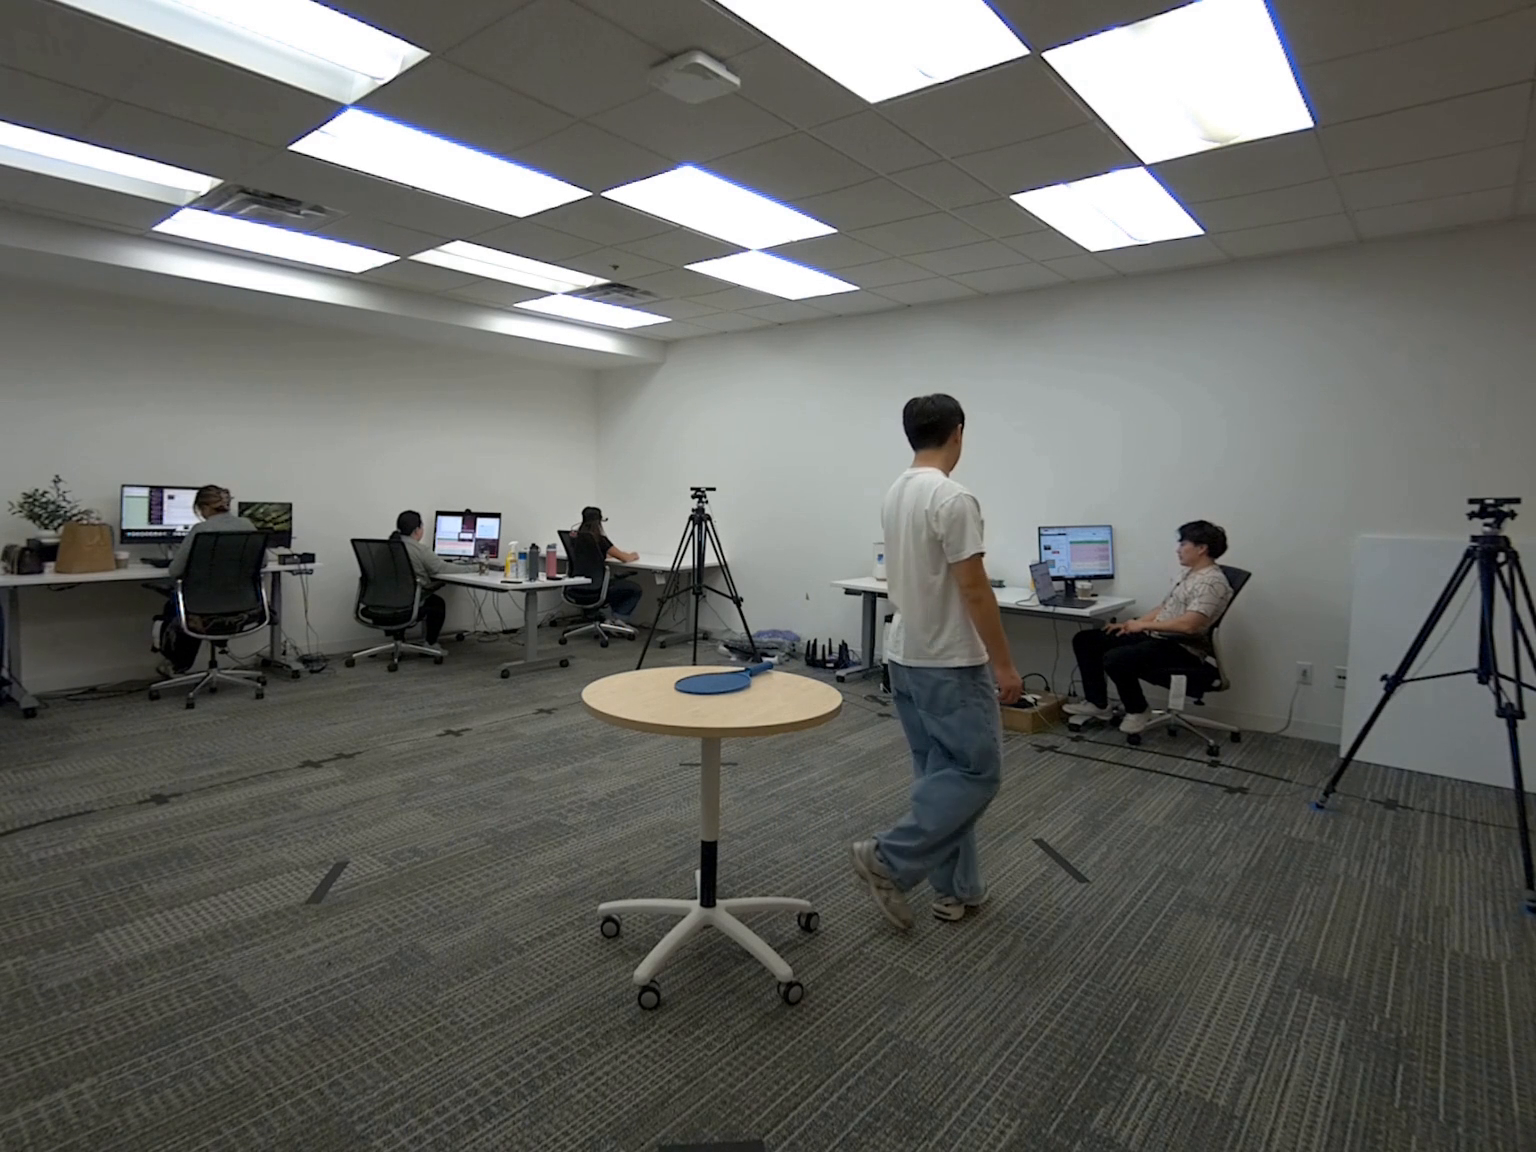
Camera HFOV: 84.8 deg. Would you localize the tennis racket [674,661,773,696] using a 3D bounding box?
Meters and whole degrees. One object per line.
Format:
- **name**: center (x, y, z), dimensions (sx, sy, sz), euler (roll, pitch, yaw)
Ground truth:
- **tennis racket**: center (-0.122, 0.319, 2.673), dimensions (0.221, 0.031, 0.421), euler (5, 9, 38)
